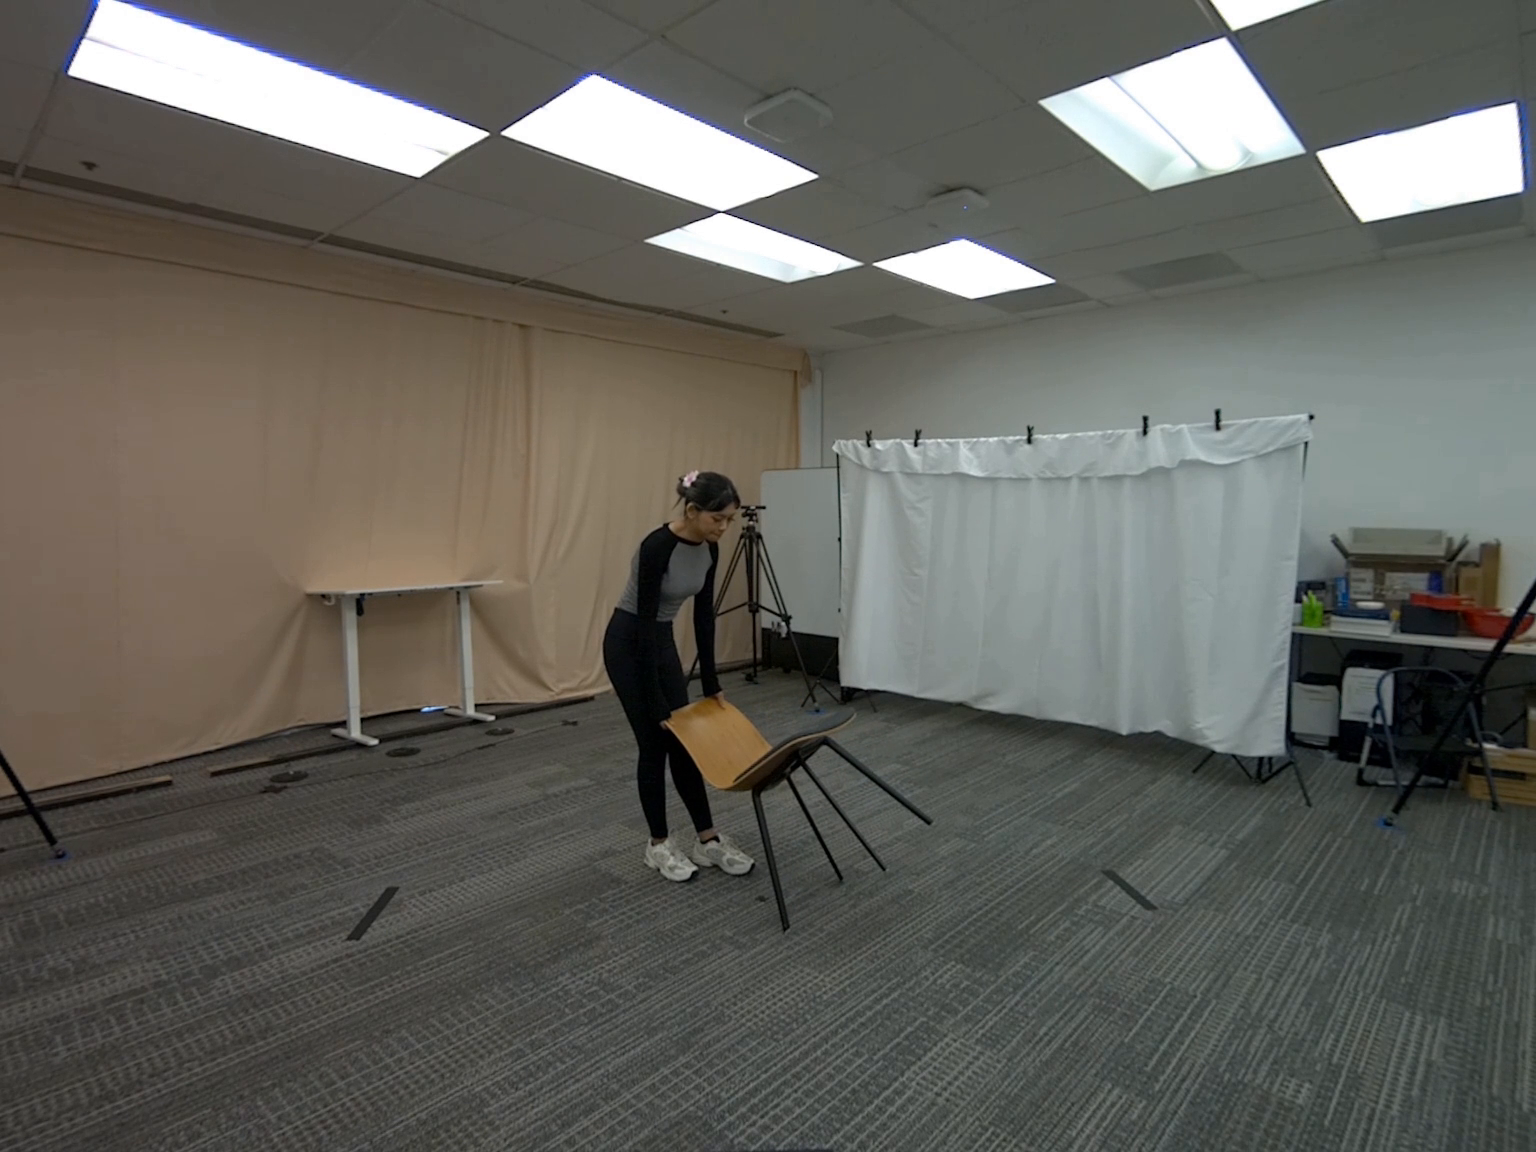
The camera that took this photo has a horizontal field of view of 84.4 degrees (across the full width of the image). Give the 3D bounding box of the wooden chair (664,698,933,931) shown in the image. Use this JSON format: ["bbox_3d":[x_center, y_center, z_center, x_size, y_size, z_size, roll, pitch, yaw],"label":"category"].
[{"bbox_3d":[0.086,0.669,2.955,0.526,0.897,0.465,-48,-21,25],"label":"wooden chair"}]
